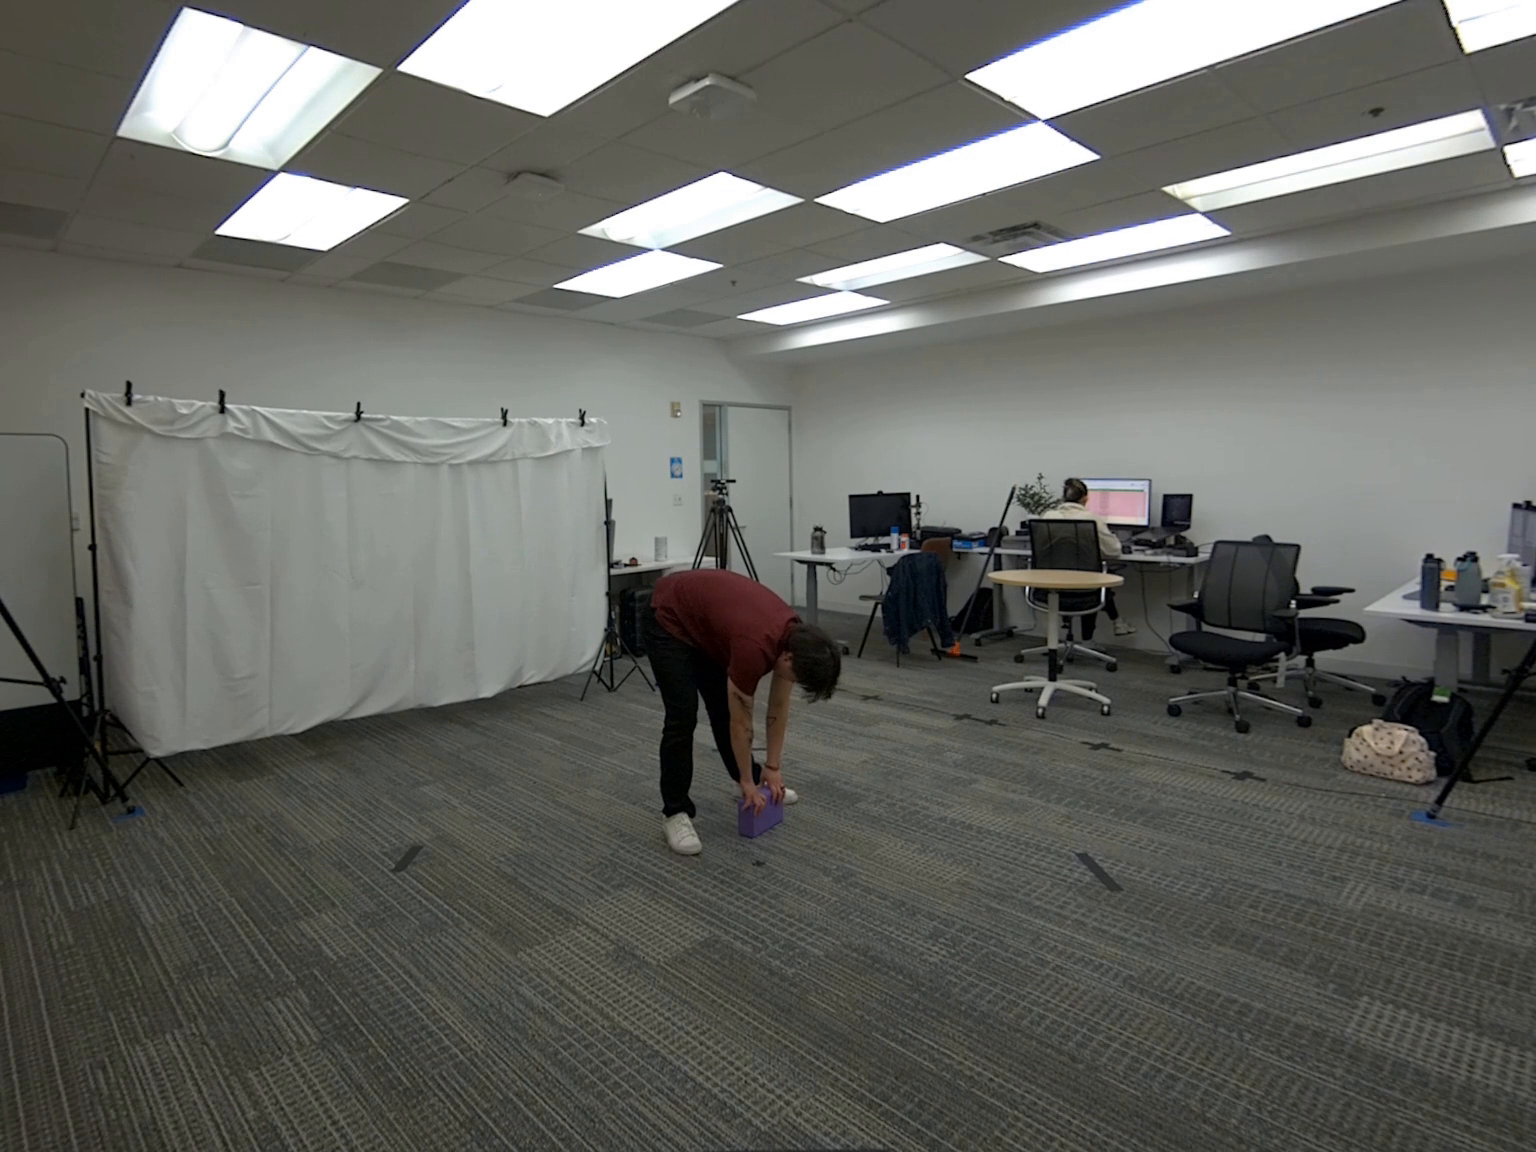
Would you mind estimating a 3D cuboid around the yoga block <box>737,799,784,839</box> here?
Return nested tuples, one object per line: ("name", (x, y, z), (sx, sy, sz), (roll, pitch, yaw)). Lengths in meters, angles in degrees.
("yoga block", (-0.033, 0.941, 3.434), (0.078, 0.148, 0.224), (0, 5, 35))
